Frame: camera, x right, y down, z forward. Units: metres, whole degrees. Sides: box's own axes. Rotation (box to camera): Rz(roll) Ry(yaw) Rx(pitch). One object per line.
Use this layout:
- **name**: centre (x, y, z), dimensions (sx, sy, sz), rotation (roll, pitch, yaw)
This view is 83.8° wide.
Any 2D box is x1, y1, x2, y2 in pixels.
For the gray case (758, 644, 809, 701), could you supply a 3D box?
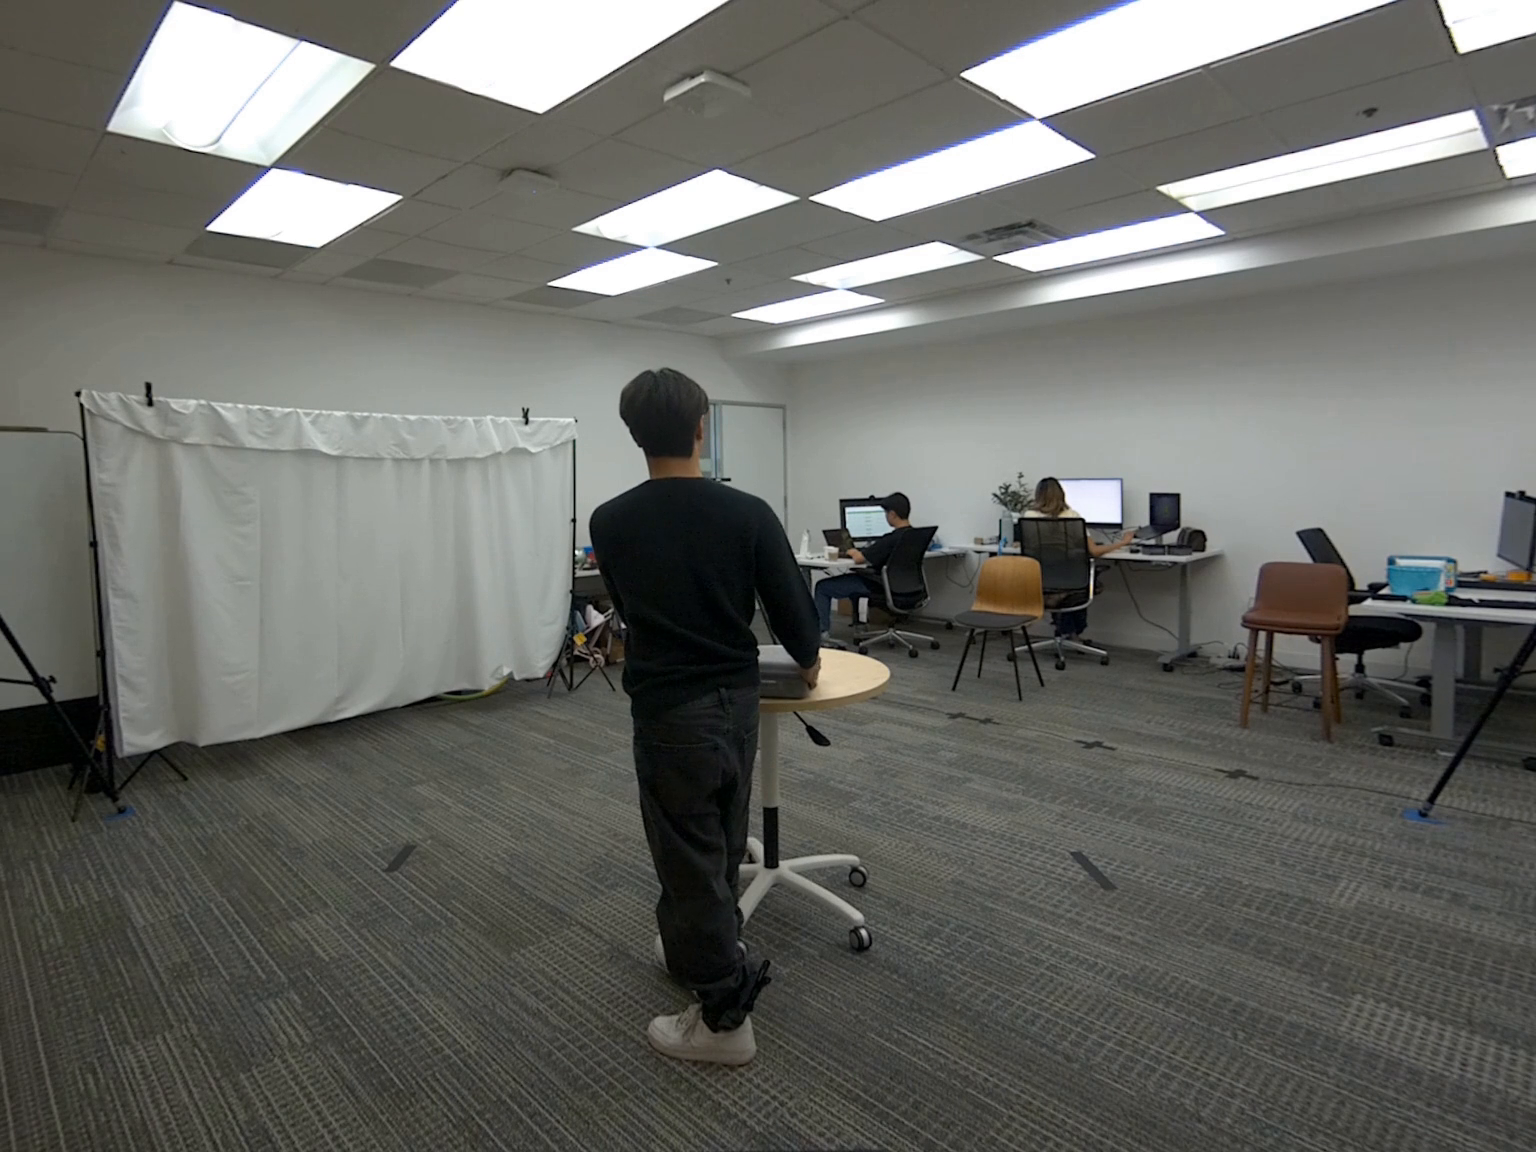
- **gray case**: centre (0.026, 0.275, 2.495), dimensions (0.260, 0.104, 0.259), rotation (0, 7, 11)
